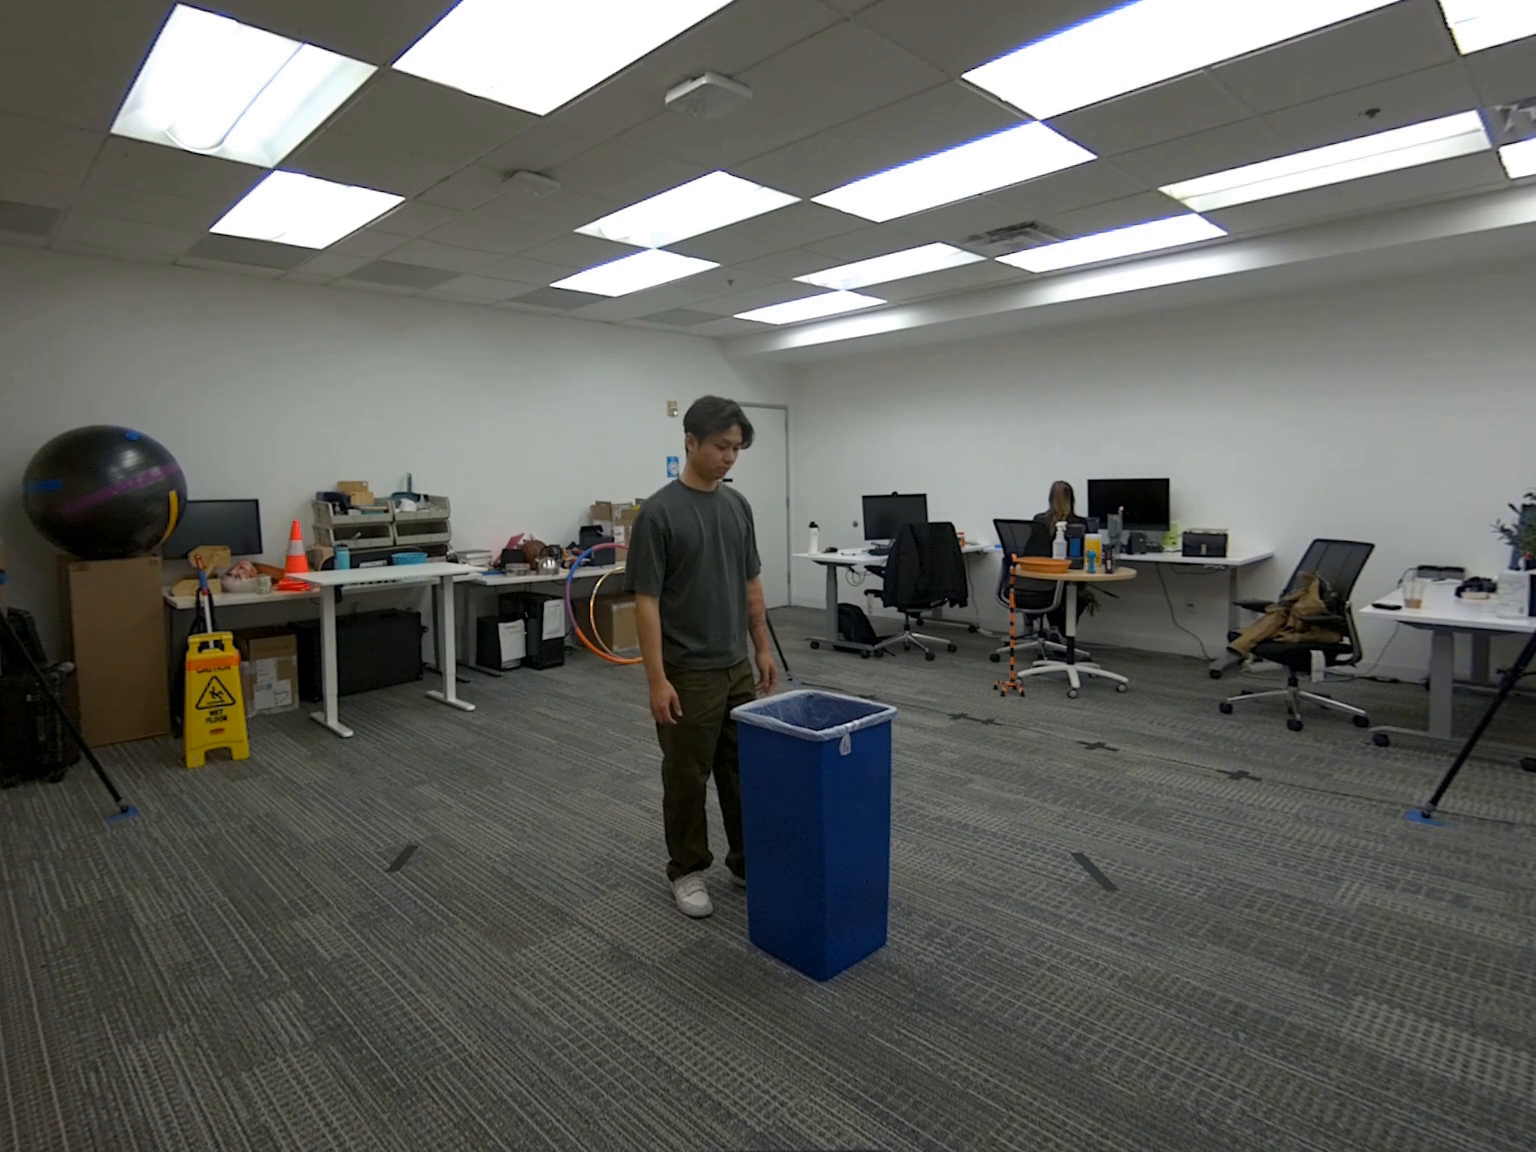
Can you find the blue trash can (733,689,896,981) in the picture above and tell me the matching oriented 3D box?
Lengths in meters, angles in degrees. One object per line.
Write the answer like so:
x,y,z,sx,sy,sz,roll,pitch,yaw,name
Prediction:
0.143,0.750,2.548,0.368,0.711,0.386,-4,6,-45,blue trash can
